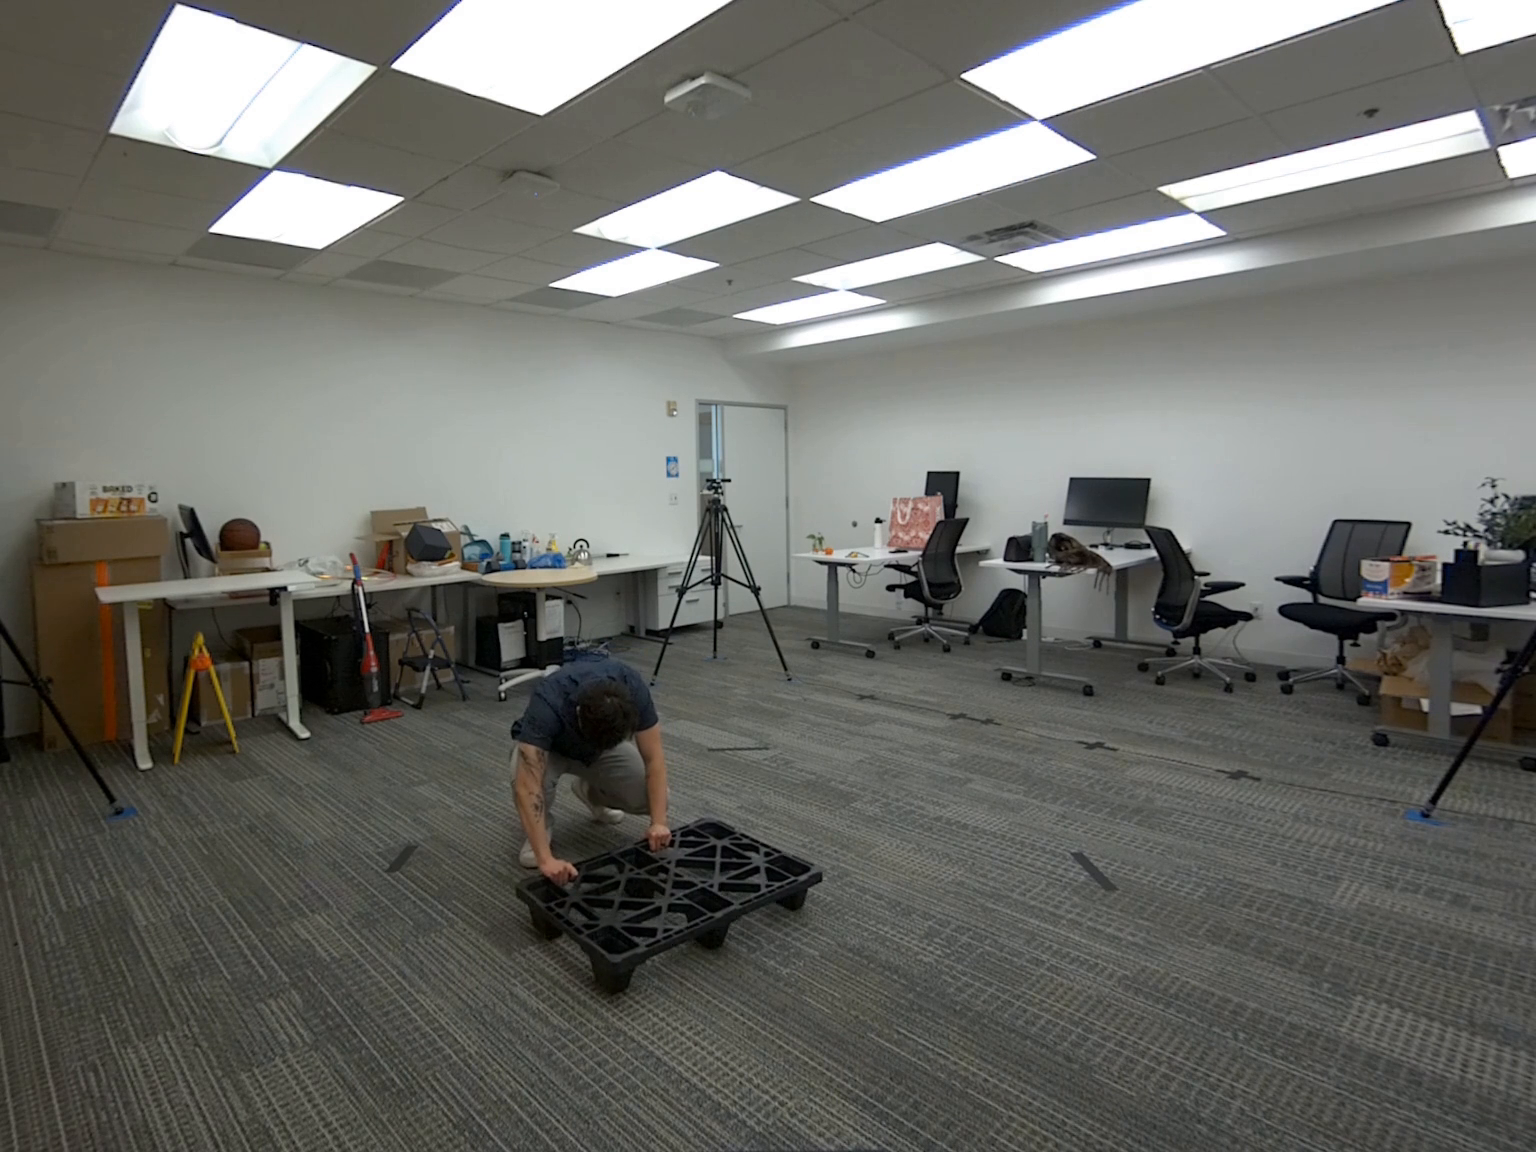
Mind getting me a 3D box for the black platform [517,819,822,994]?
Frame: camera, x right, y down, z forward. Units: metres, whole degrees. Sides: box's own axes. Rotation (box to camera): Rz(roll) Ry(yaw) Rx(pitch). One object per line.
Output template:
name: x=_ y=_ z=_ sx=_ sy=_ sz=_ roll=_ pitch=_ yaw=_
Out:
black platform: x=-0.301 y=1.026 z=2.727 sx=0.785 sy=0.142 sz=0.624 roll=-7 pitch=9 yaw=-40
